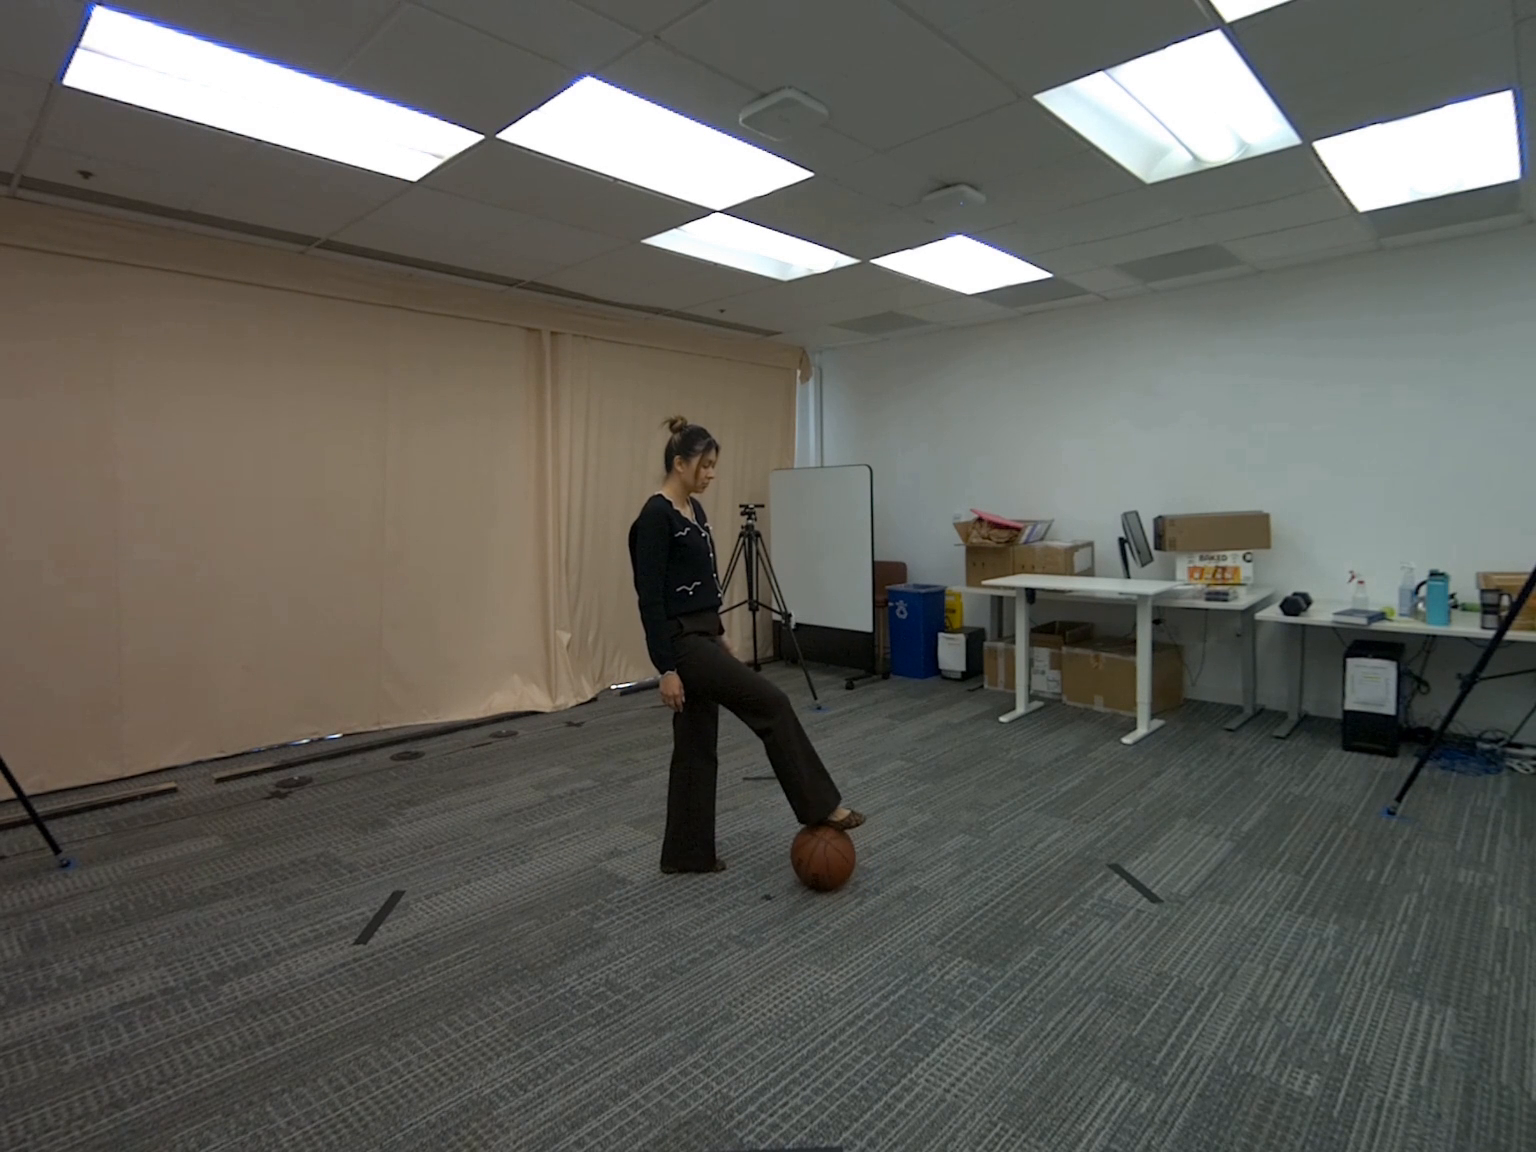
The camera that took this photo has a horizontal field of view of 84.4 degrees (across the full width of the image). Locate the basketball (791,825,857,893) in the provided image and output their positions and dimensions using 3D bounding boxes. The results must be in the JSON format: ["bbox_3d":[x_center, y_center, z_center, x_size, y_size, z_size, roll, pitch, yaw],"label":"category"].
[{"bbox_3d":[0.202,1.017,3.063,0.236,0.235,0.237,-1,4,-2],"label":"basketball"}]
